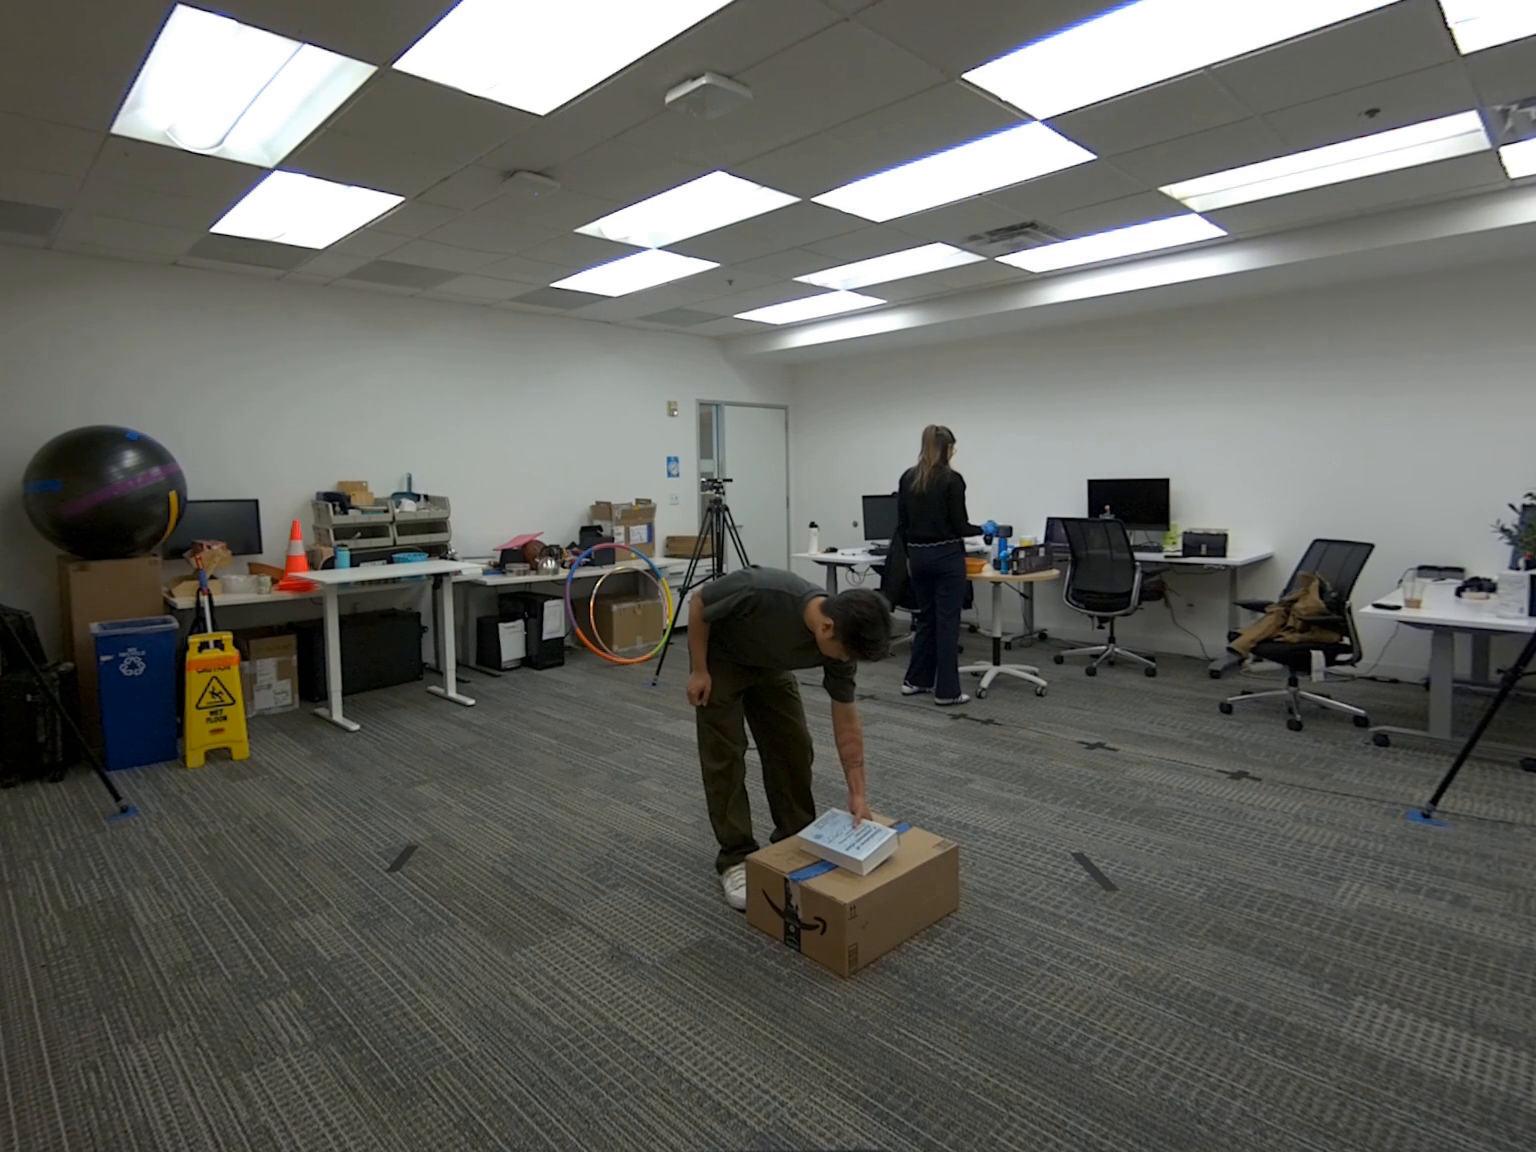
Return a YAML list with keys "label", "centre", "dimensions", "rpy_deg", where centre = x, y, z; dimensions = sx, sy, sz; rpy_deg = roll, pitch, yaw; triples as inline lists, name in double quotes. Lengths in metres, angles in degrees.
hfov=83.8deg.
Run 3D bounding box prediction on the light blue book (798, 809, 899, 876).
- label: "light blue book"
  centre: [0.253, 0.832, 2.684]
  dimensions: [0.269, 0.058, 0.188]
  rpy_deg: [5, 21, 45]
